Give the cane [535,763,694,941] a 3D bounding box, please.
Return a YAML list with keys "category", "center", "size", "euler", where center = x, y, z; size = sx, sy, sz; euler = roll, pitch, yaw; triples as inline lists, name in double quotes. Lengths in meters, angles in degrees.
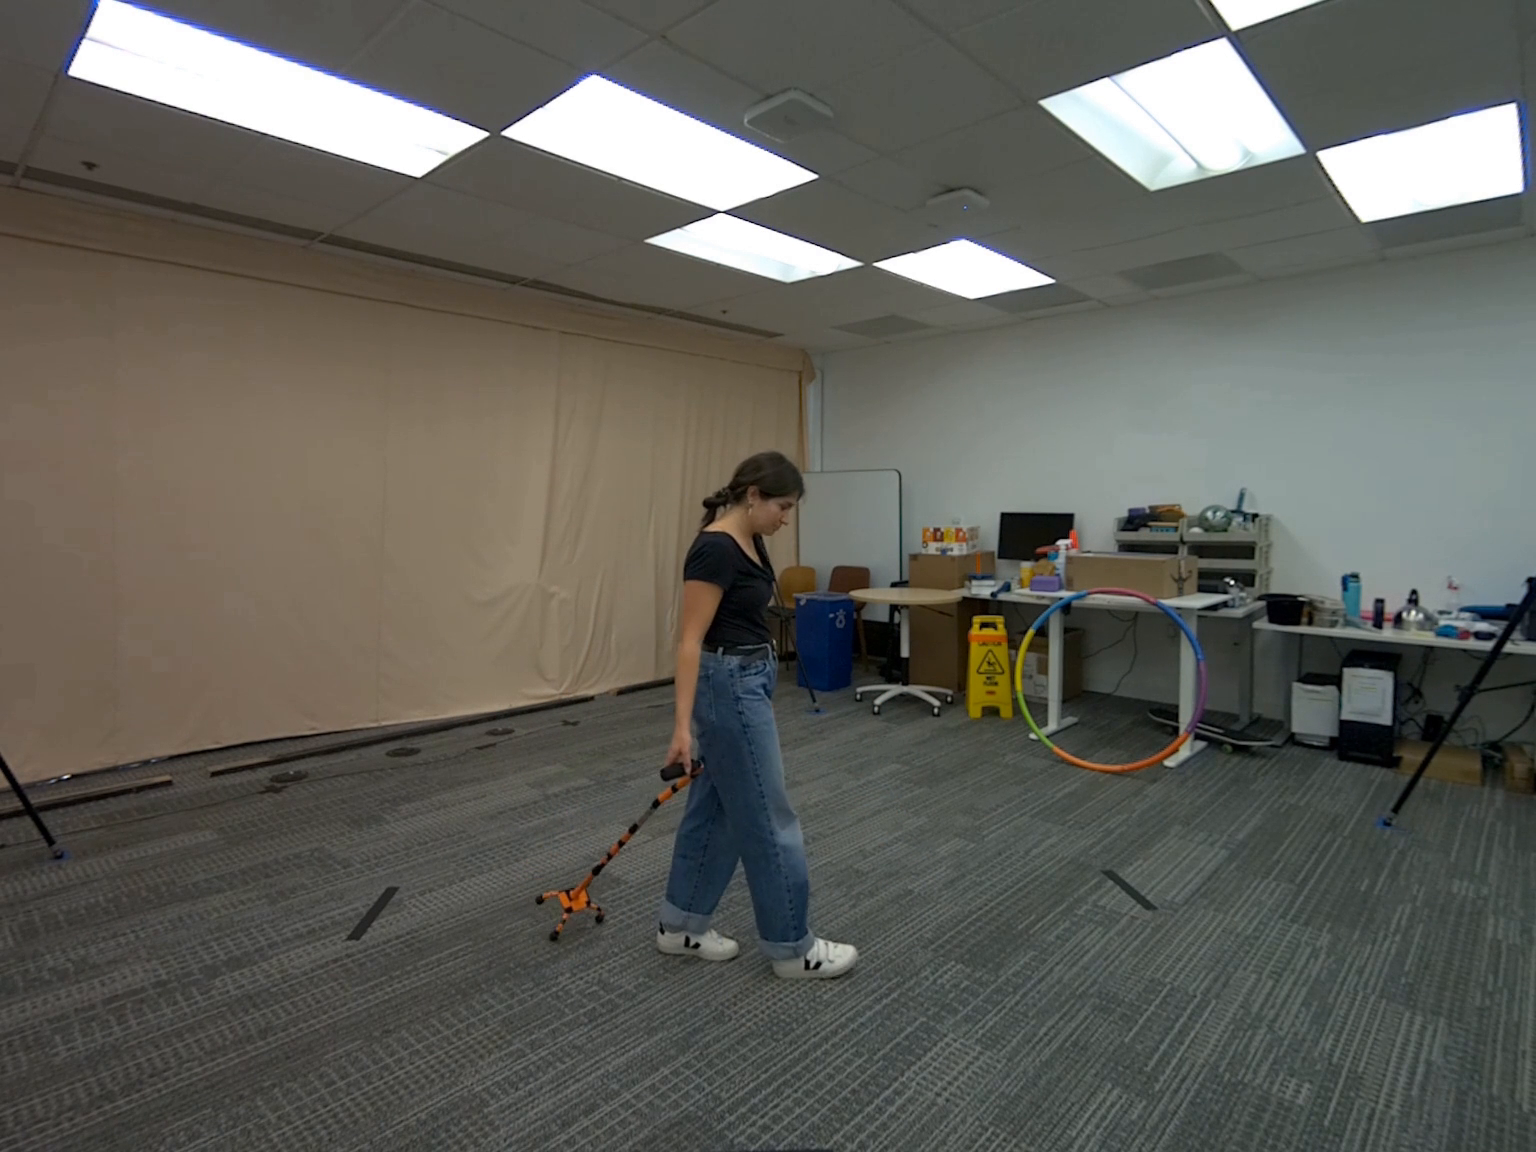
- category: "cane"
  center: [-0.434, 0.815, 2.536]
  size: [0.200, 0.156, 0.911]
  euler: [-4, -38, -42]
